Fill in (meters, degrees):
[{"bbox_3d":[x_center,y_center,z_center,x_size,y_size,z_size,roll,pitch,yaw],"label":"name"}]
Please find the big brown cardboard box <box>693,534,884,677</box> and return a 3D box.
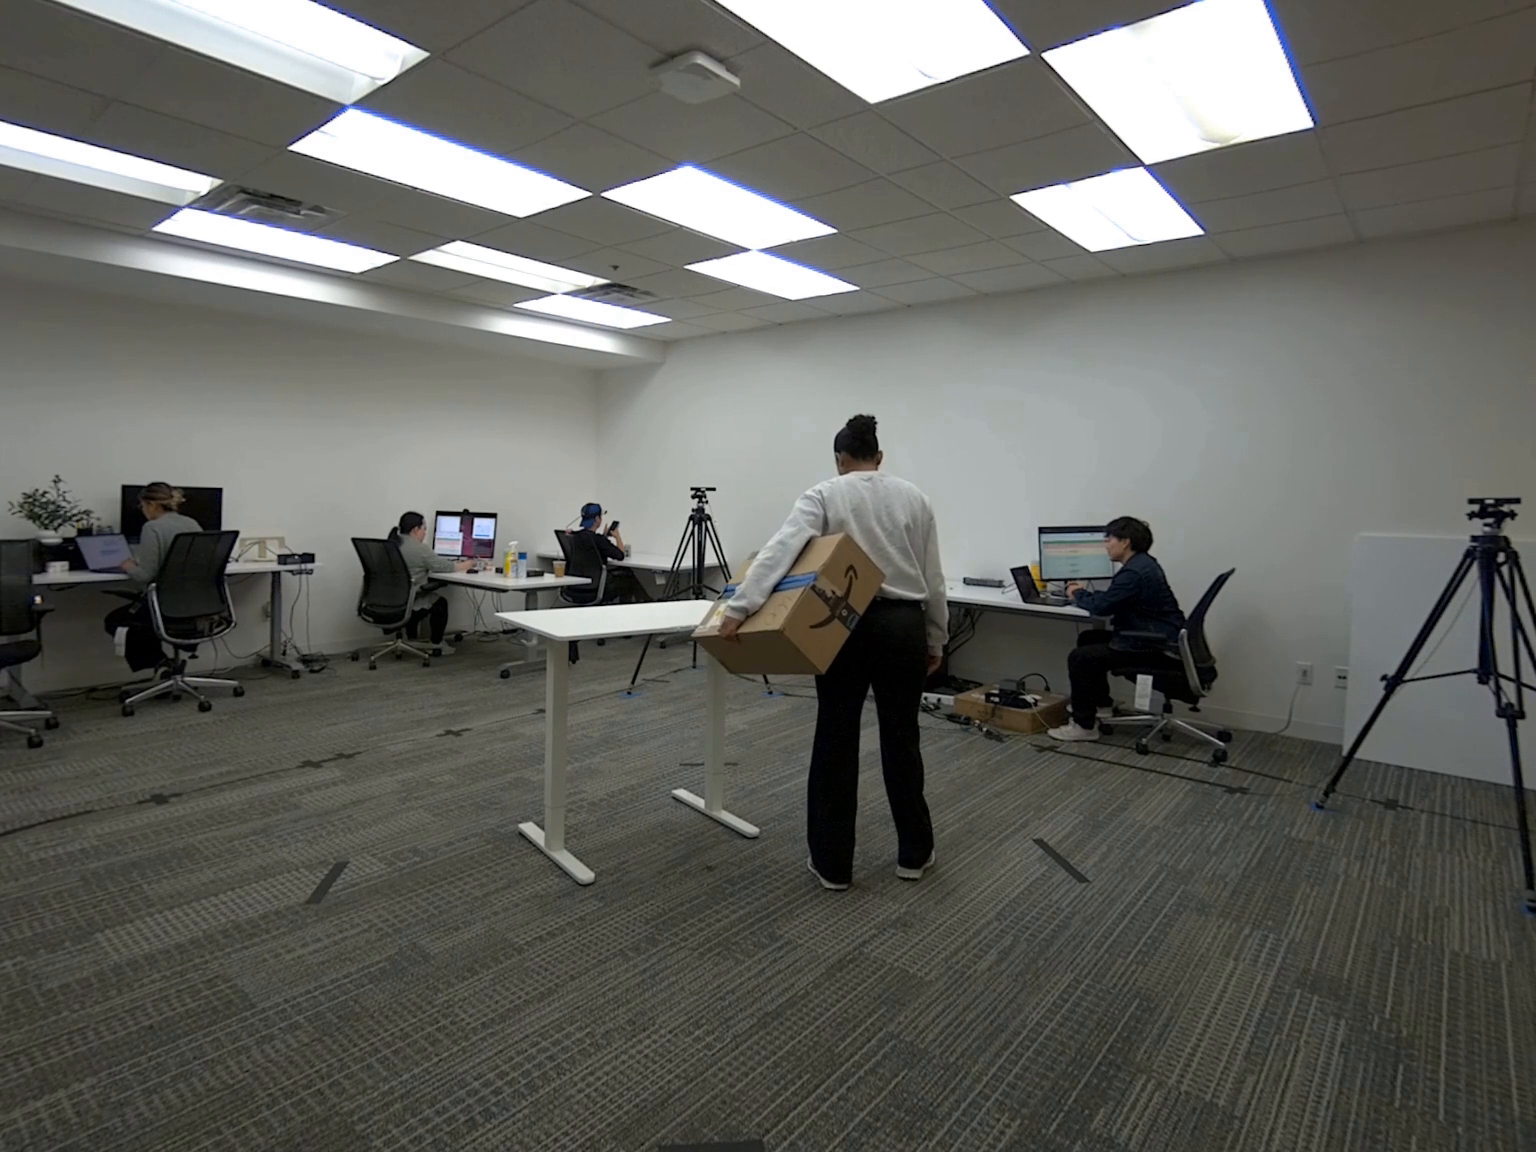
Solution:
[{"bbox_3d":[0.049,0.104,2.915,0.227,0.419,0.602,46,-27,-21],"label":"big brown cardboard box"}]
